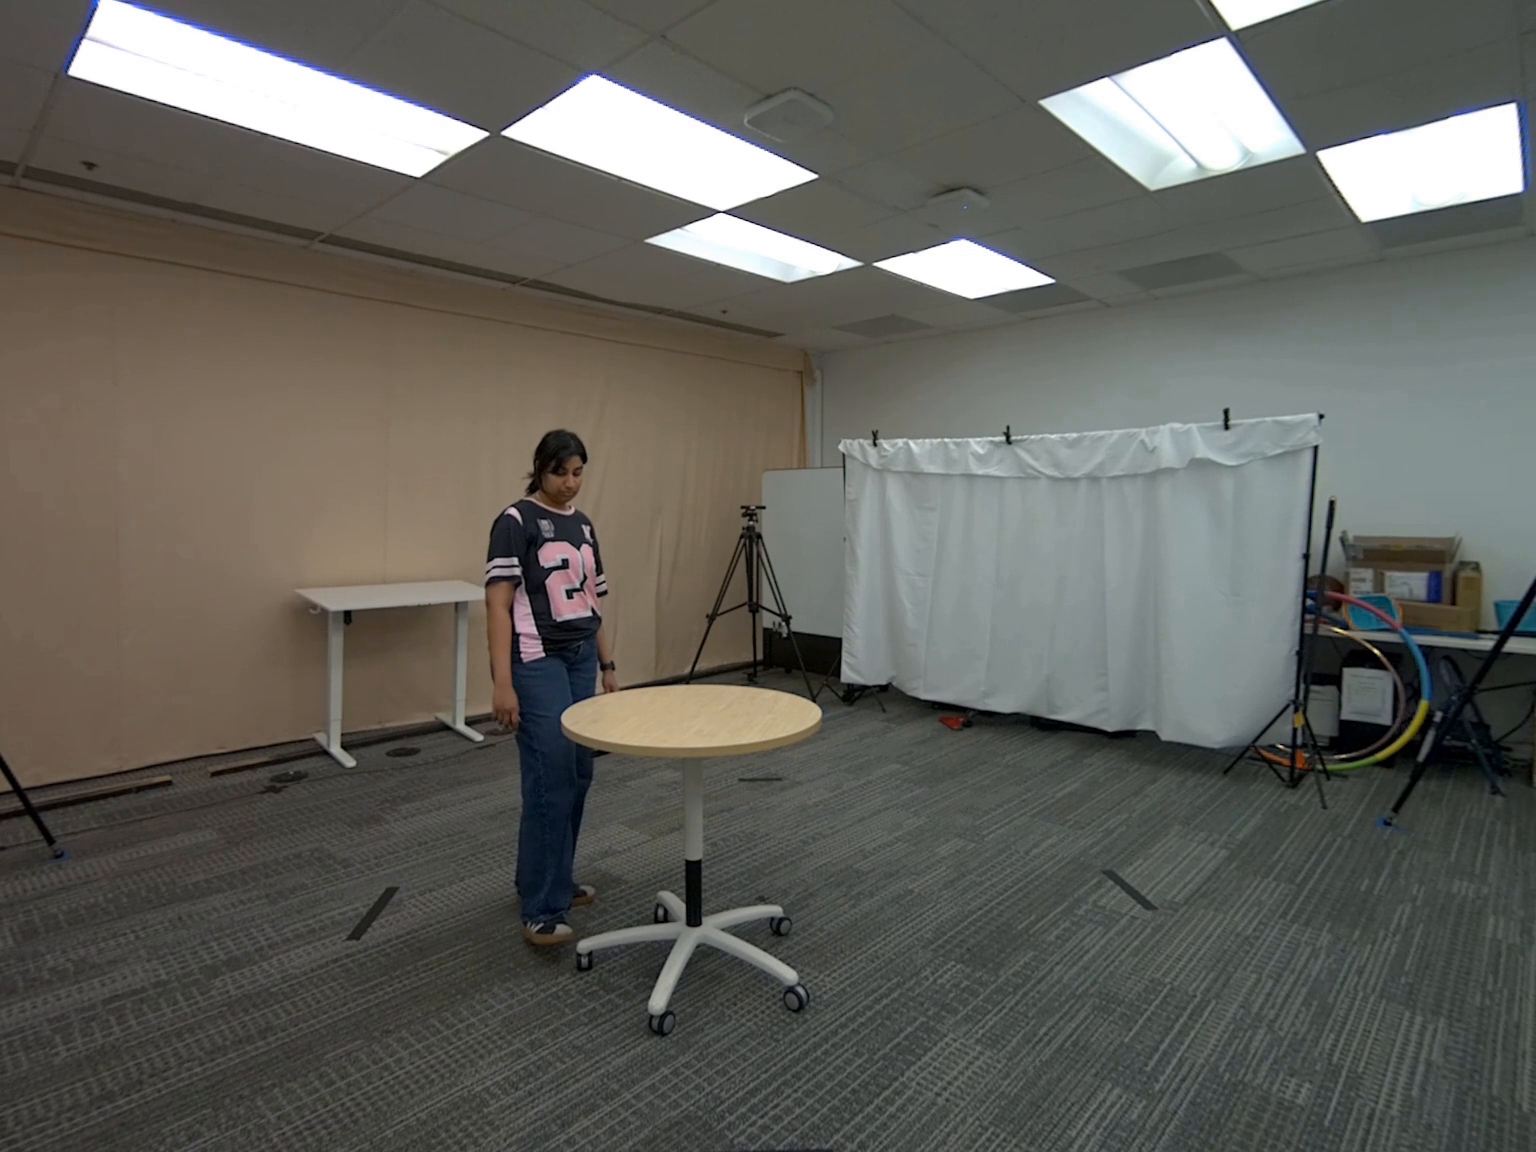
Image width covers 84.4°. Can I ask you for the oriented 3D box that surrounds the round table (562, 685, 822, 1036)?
[{"bbox_3d":[-0.213,0.799,2.505,0.763,0.792,0.766,-1,3,-2],"label":"round table"}]
